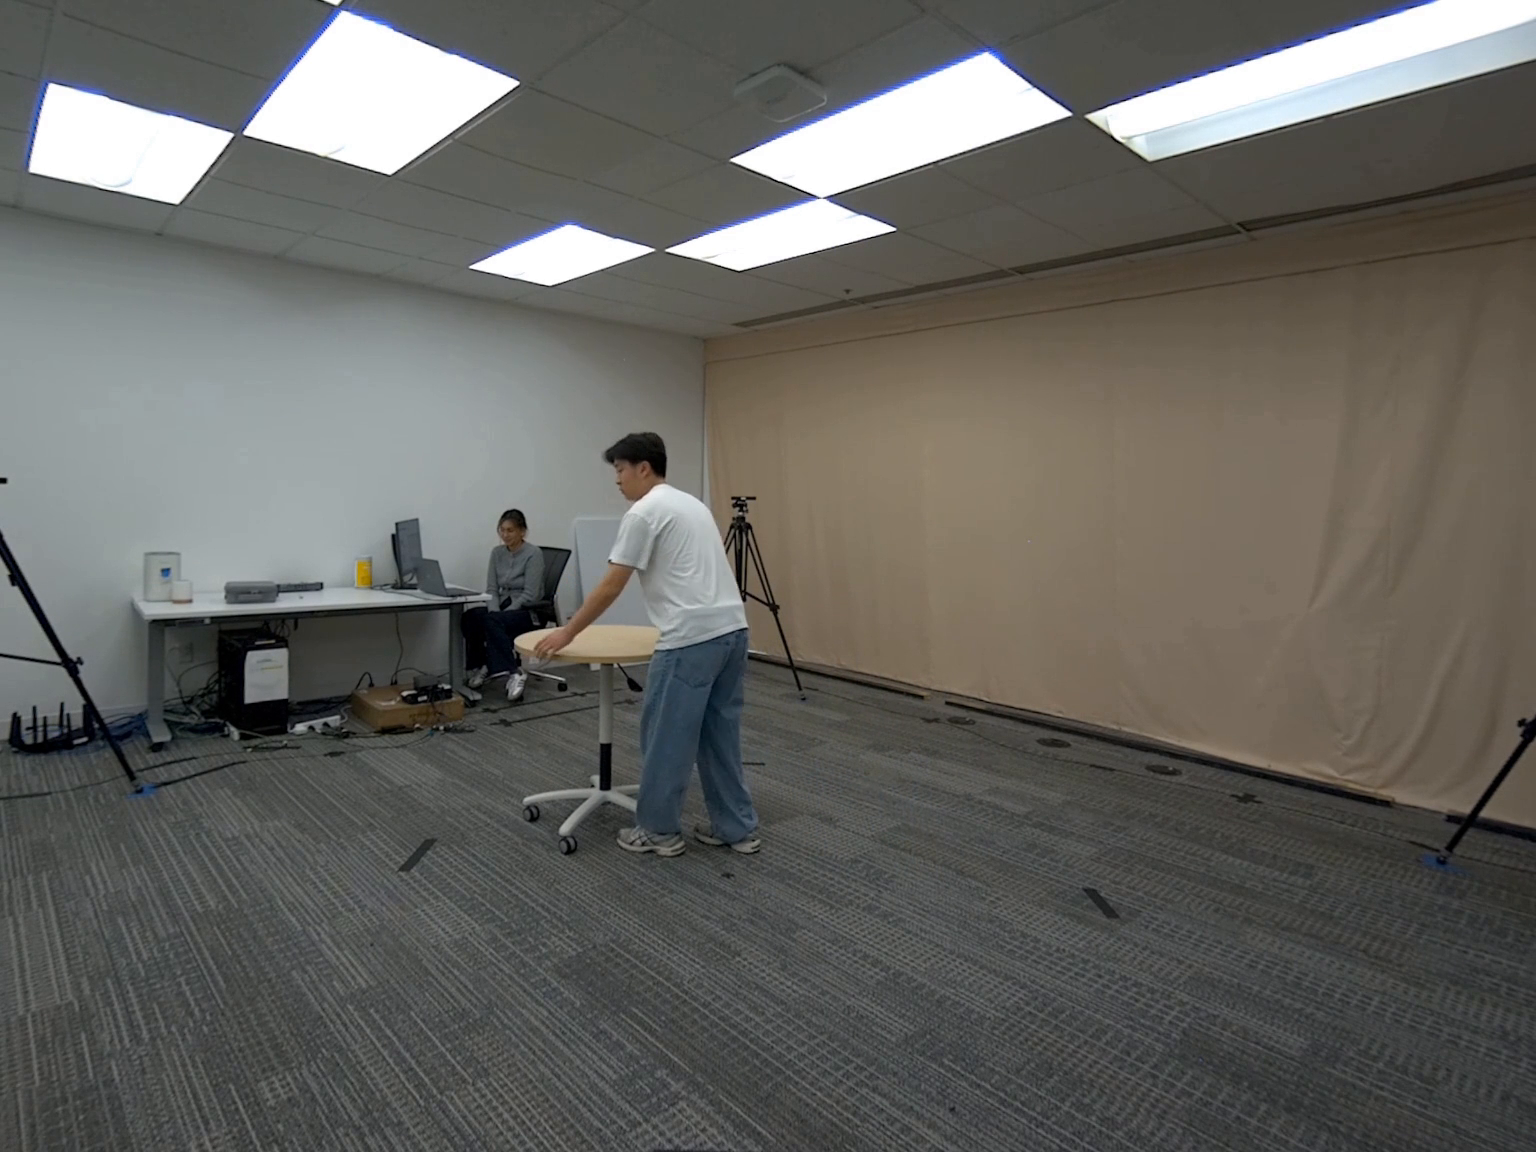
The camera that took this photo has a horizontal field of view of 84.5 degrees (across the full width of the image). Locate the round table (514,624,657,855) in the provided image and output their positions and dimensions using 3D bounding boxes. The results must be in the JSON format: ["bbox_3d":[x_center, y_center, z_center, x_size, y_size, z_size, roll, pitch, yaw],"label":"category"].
[{"bbox_3d":[-0.700,0.663,3.572,0.763,0.792,0.766,1,4,-1],"label":"round table"}]
